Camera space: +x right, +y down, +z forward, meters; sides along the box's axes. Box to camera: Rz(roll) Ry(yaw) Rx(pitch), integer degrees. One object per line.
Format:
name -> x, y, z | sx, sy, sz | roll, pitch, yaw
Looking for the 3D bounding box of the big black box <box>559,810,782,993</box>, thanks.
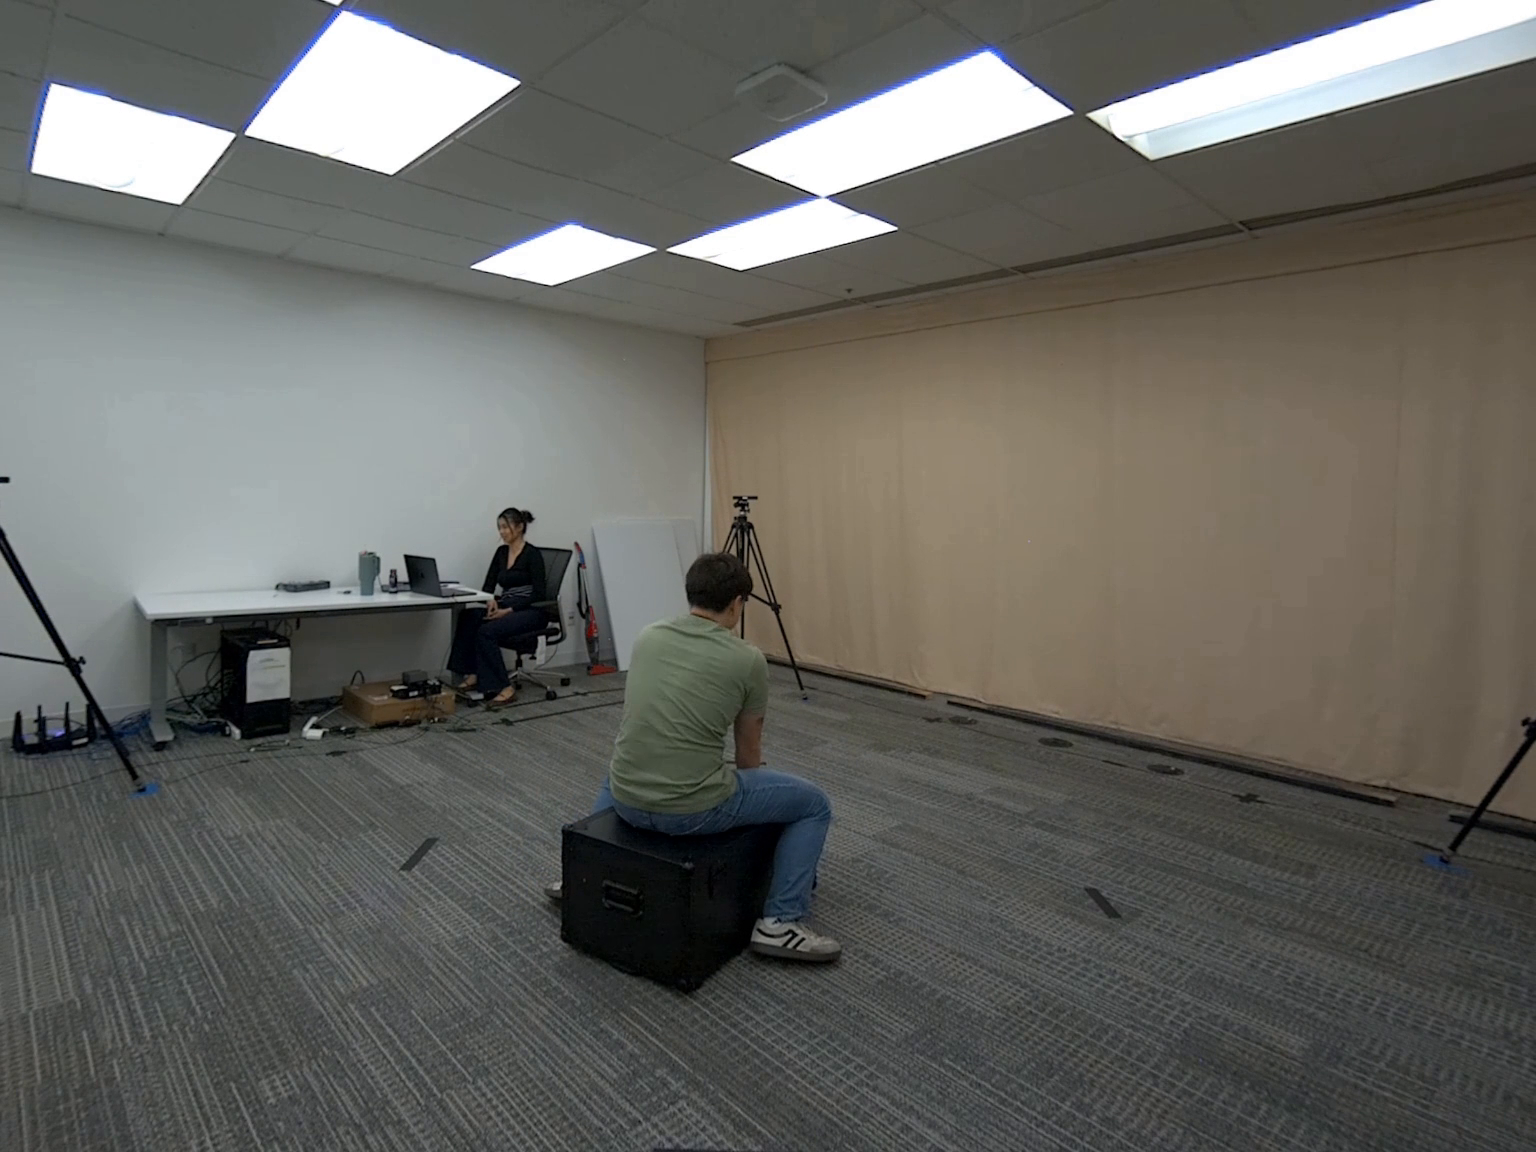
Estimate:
big black box -> -0.216, 0.946, 2.788 | 0.532, 0.395, 0.846 | 3, 7, 30
